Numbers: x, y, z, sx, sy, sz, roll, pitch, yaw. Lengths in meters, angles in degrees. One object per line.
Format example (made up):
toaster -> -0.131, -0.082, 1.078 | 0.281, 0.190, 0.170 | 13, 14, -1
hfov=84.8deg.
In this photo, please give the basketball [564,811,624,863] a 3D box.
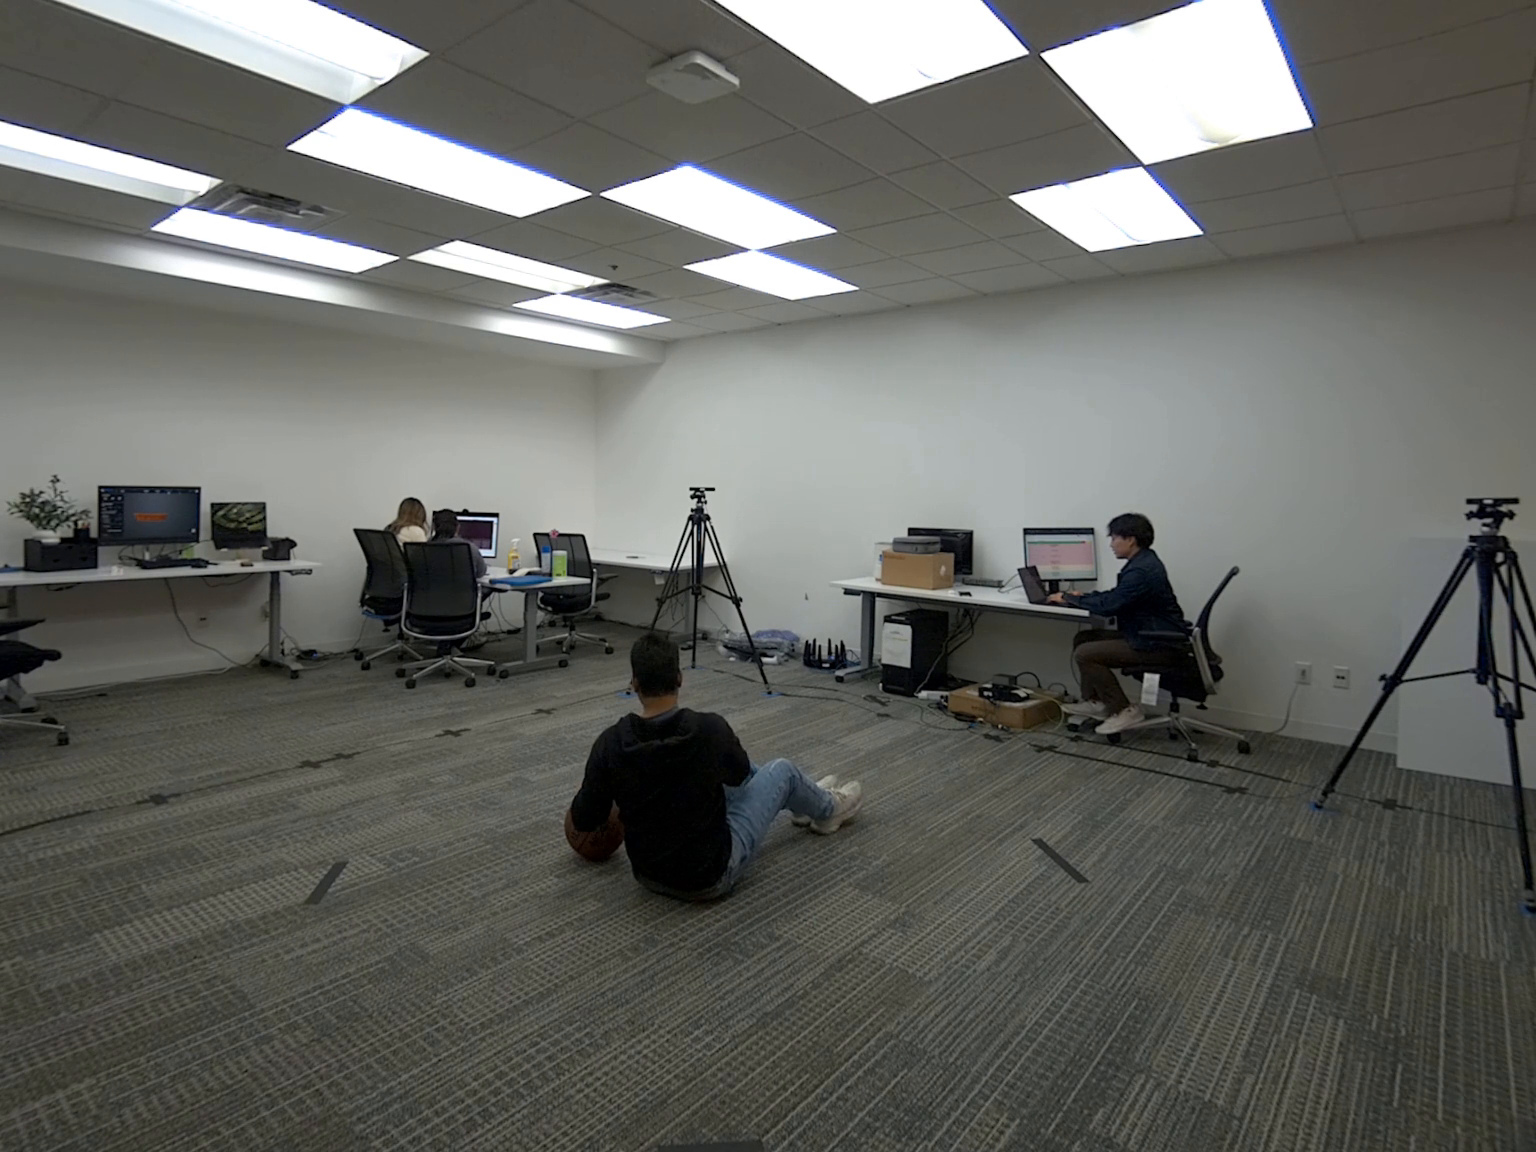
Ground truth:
basketball -> -0.654, 0.928, 3.197 | 0.235, 0.235, 0.237 | 1, 4, -2
